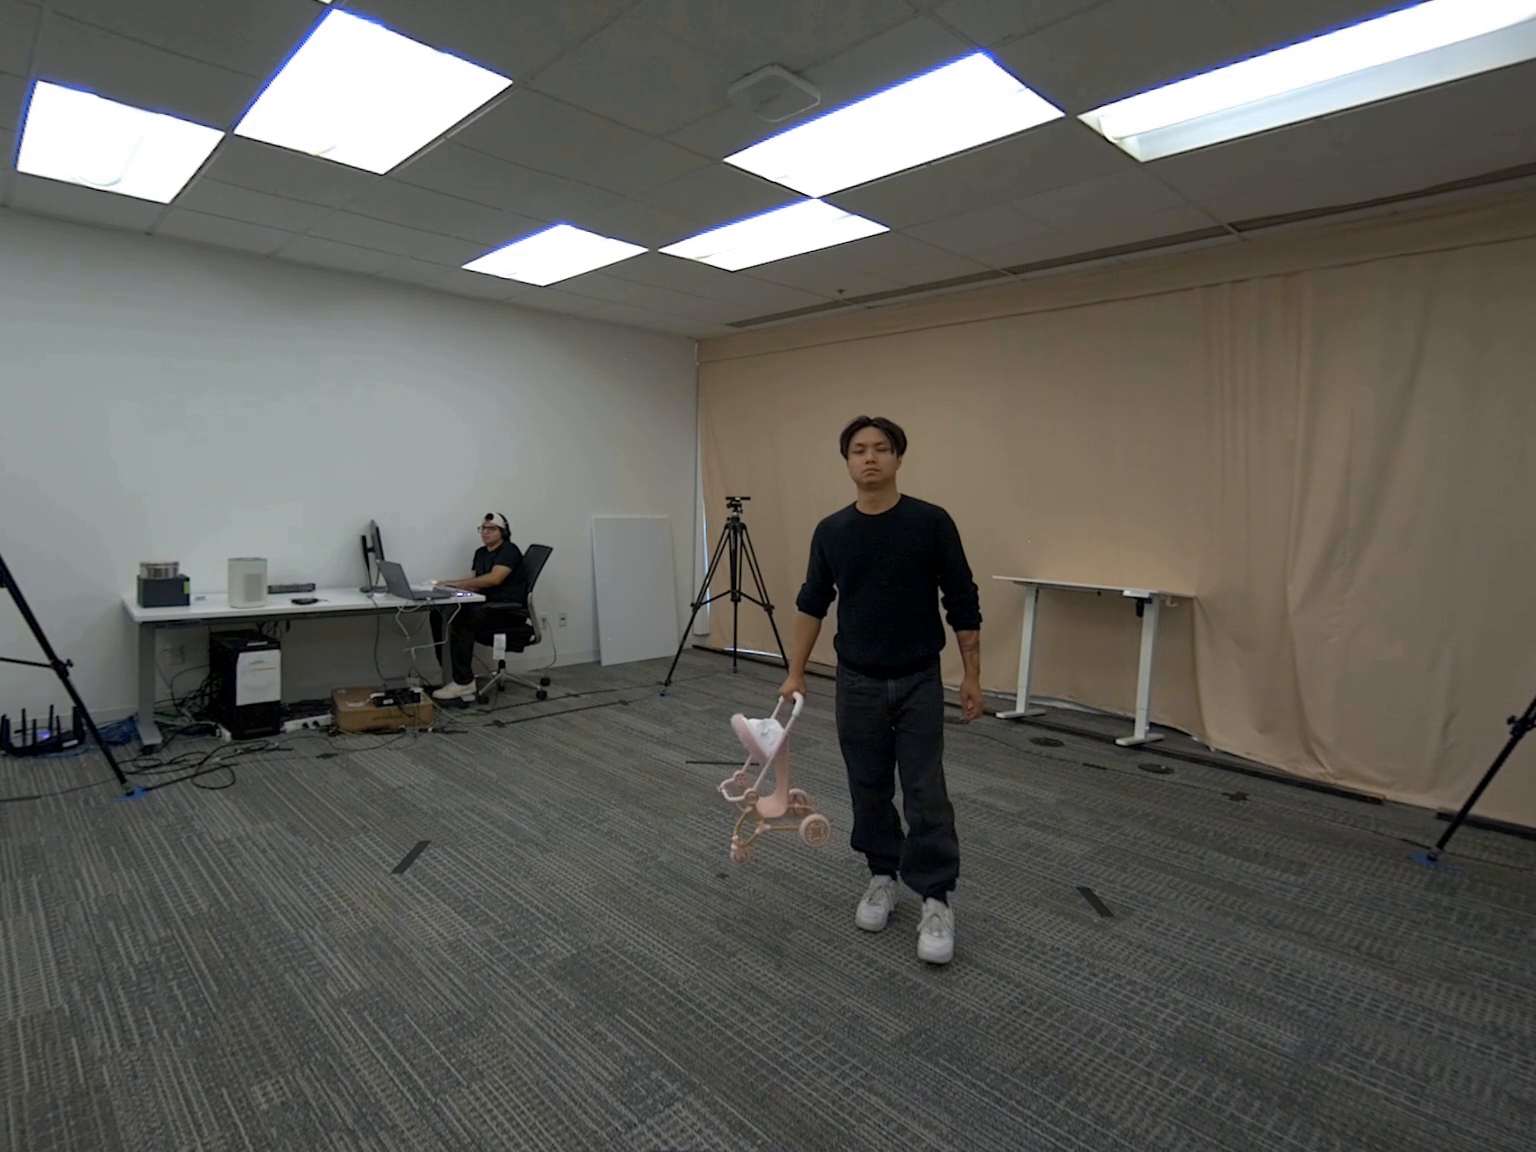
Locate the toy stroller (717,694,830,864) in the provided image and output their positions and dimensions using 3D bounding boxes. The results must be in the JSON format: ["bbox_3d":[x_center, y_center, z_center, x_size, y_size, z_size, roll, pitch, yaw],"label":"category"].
[{"bbox_3d":[-0.015,0.684,2.835,0.340,0.532,0.284,-12,6,-5],"label":"toy stroller"}]
